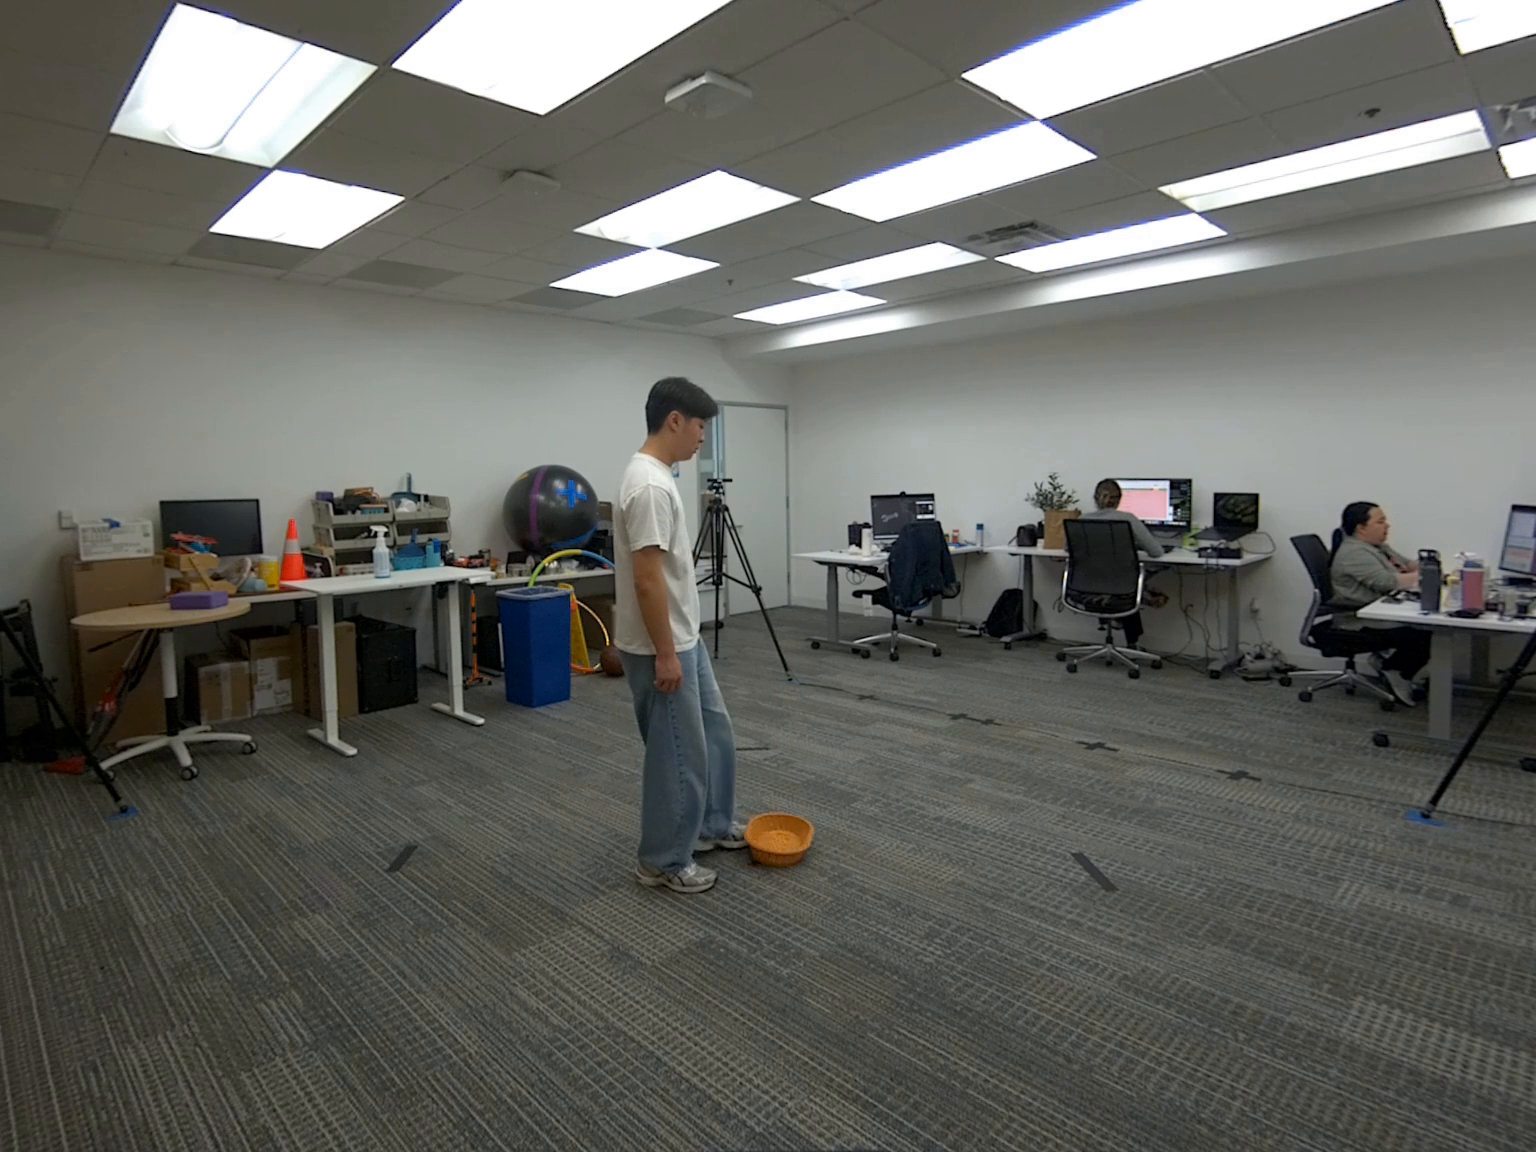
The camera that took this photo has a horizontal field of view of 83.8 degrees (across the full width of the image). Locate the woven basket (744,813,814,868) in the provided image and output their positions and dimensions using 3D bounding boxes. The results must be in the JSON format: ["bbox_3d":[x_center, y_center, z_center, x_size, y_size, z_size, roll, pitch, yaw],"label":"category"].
[{"bbox_3d":[0.048,0.988,3.192,0.255,0.073,0.348,5,7,11],"label":"woven basket"}]
